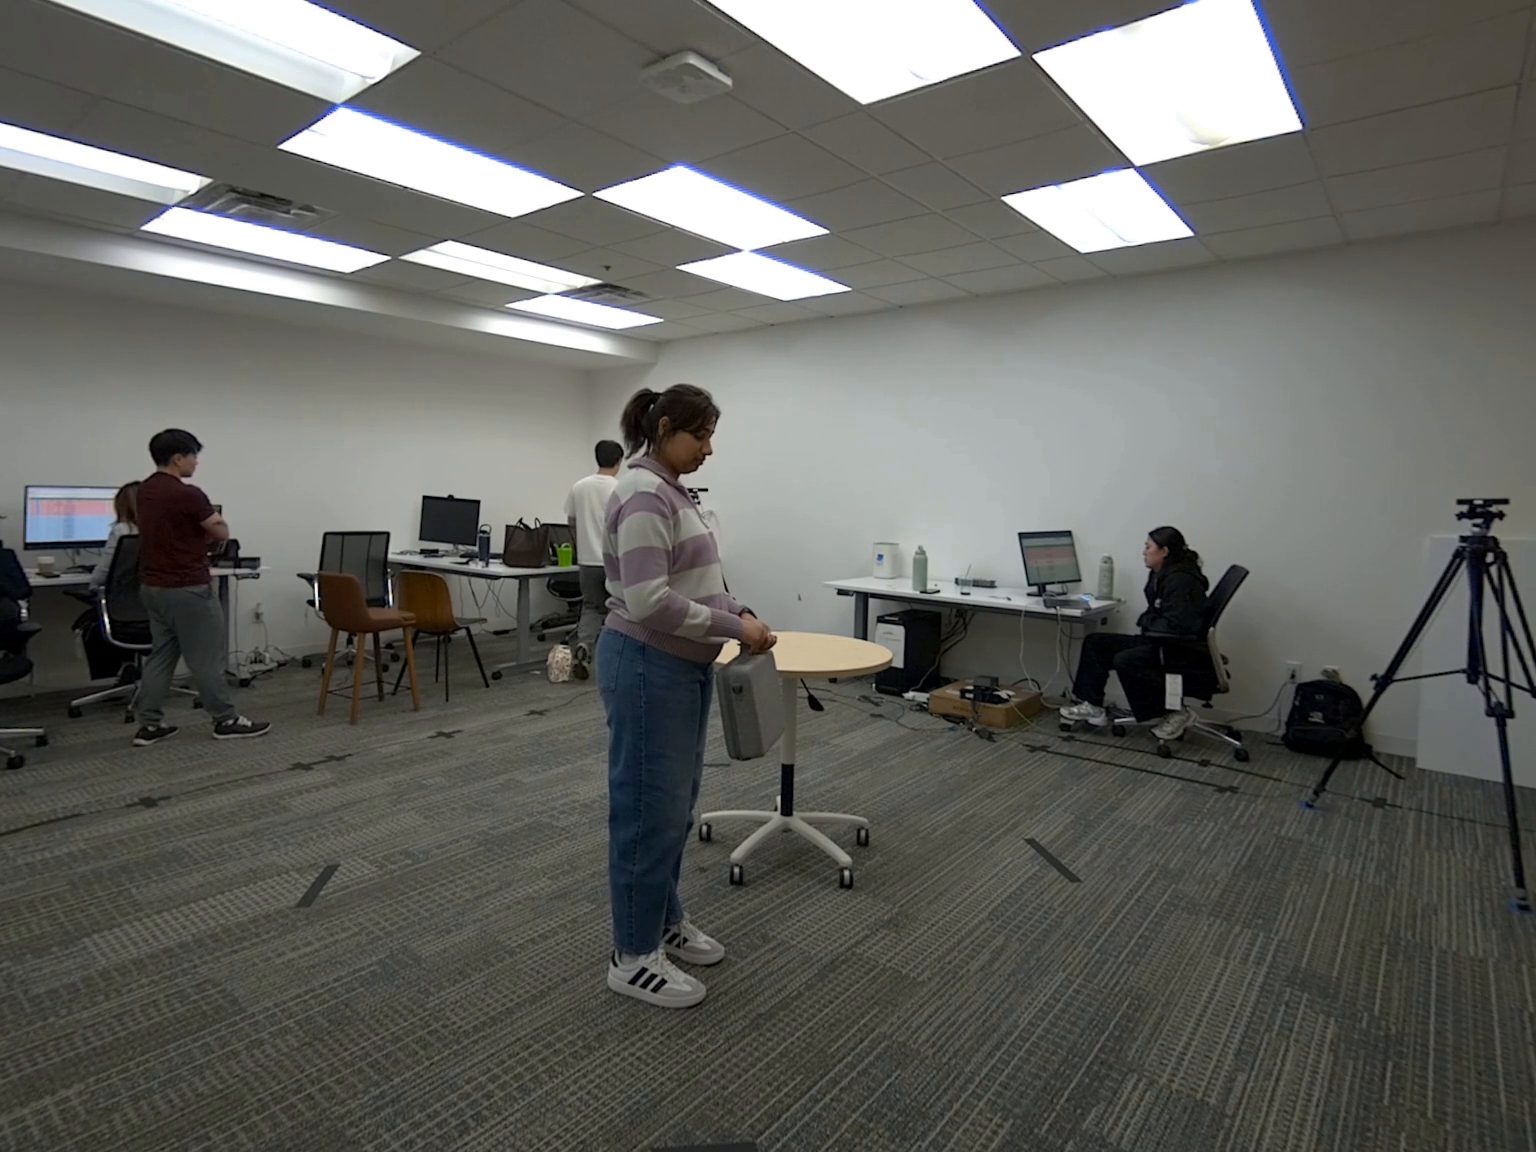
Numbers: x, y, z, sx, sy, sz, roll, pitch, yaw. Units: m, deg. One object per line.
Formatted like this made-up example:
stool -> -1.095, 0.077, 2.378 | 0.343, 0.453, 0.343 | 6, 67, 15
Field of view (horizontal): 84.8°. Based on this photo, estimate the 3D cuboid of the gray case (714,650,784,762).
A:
gray case -> -0.052, 0.342, 2.336 | 0.106, 0.259, 0.254 | -8, 7, 19
